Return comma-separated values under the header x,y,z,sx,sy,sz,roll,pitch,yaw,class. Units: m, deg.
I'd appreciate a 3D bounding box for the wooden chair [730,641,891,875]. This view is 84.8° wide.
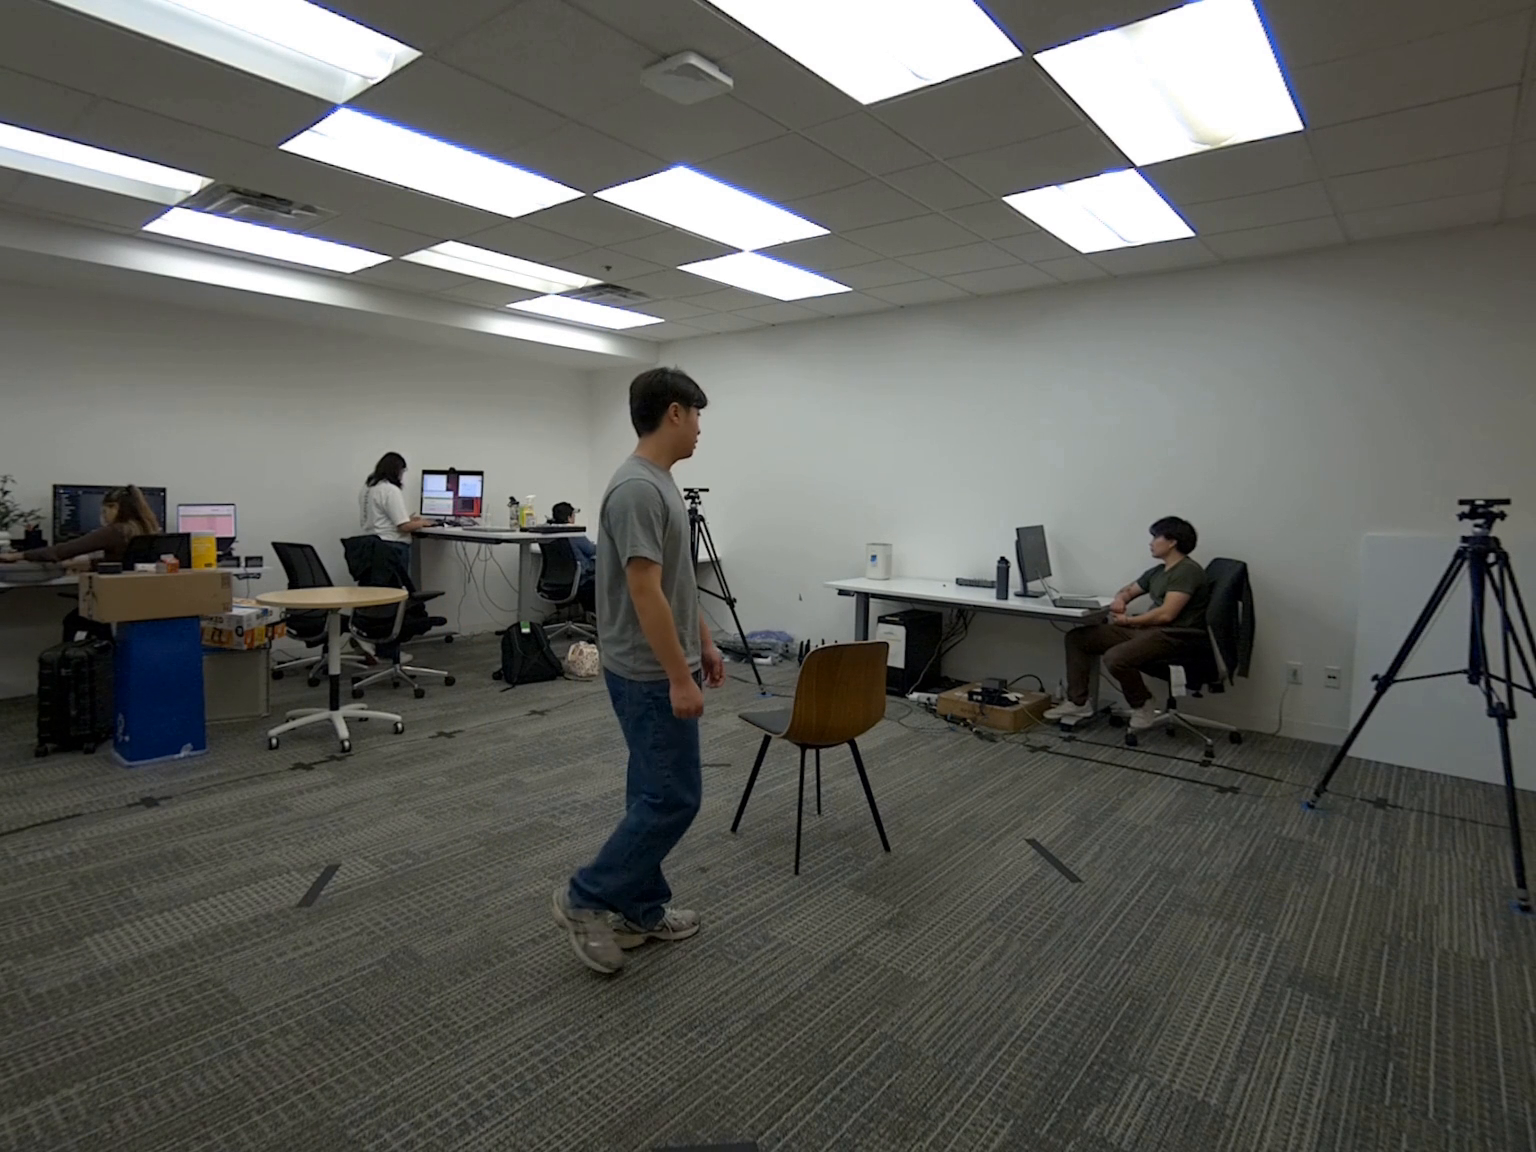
x,y,z,sx,sy,sz,roll,pitch,yaw,class
0.155,0.625,3.358,0.465,0.872,0.541,-1,8,-32,wooden chair
